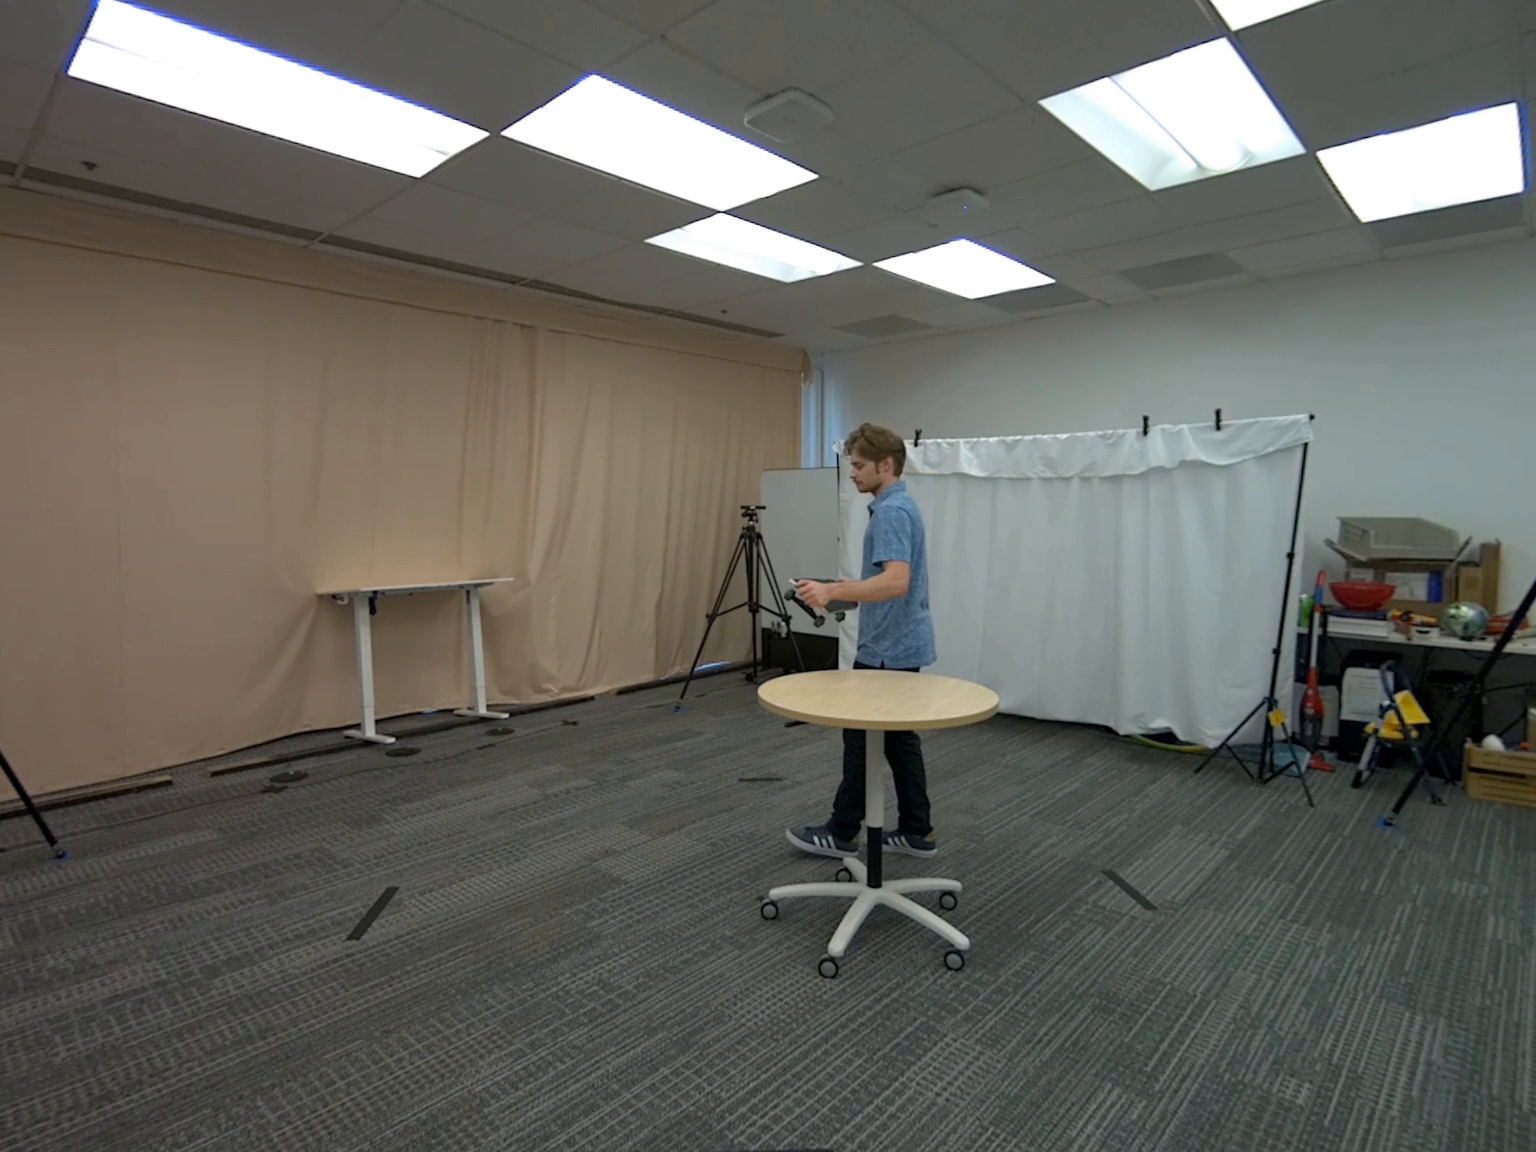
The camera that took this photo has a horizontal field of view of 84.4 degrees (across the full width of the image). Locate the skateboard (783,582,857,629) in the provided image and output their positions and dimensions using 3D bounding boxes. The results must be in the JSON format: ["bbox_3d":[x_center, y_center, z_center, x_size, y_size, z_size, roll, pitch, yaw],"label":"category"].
[{"bbox_3d":[0.225,0.109,3.411,0.197,0.110,0.771,41,10,12],"label":"skateboard"}]
